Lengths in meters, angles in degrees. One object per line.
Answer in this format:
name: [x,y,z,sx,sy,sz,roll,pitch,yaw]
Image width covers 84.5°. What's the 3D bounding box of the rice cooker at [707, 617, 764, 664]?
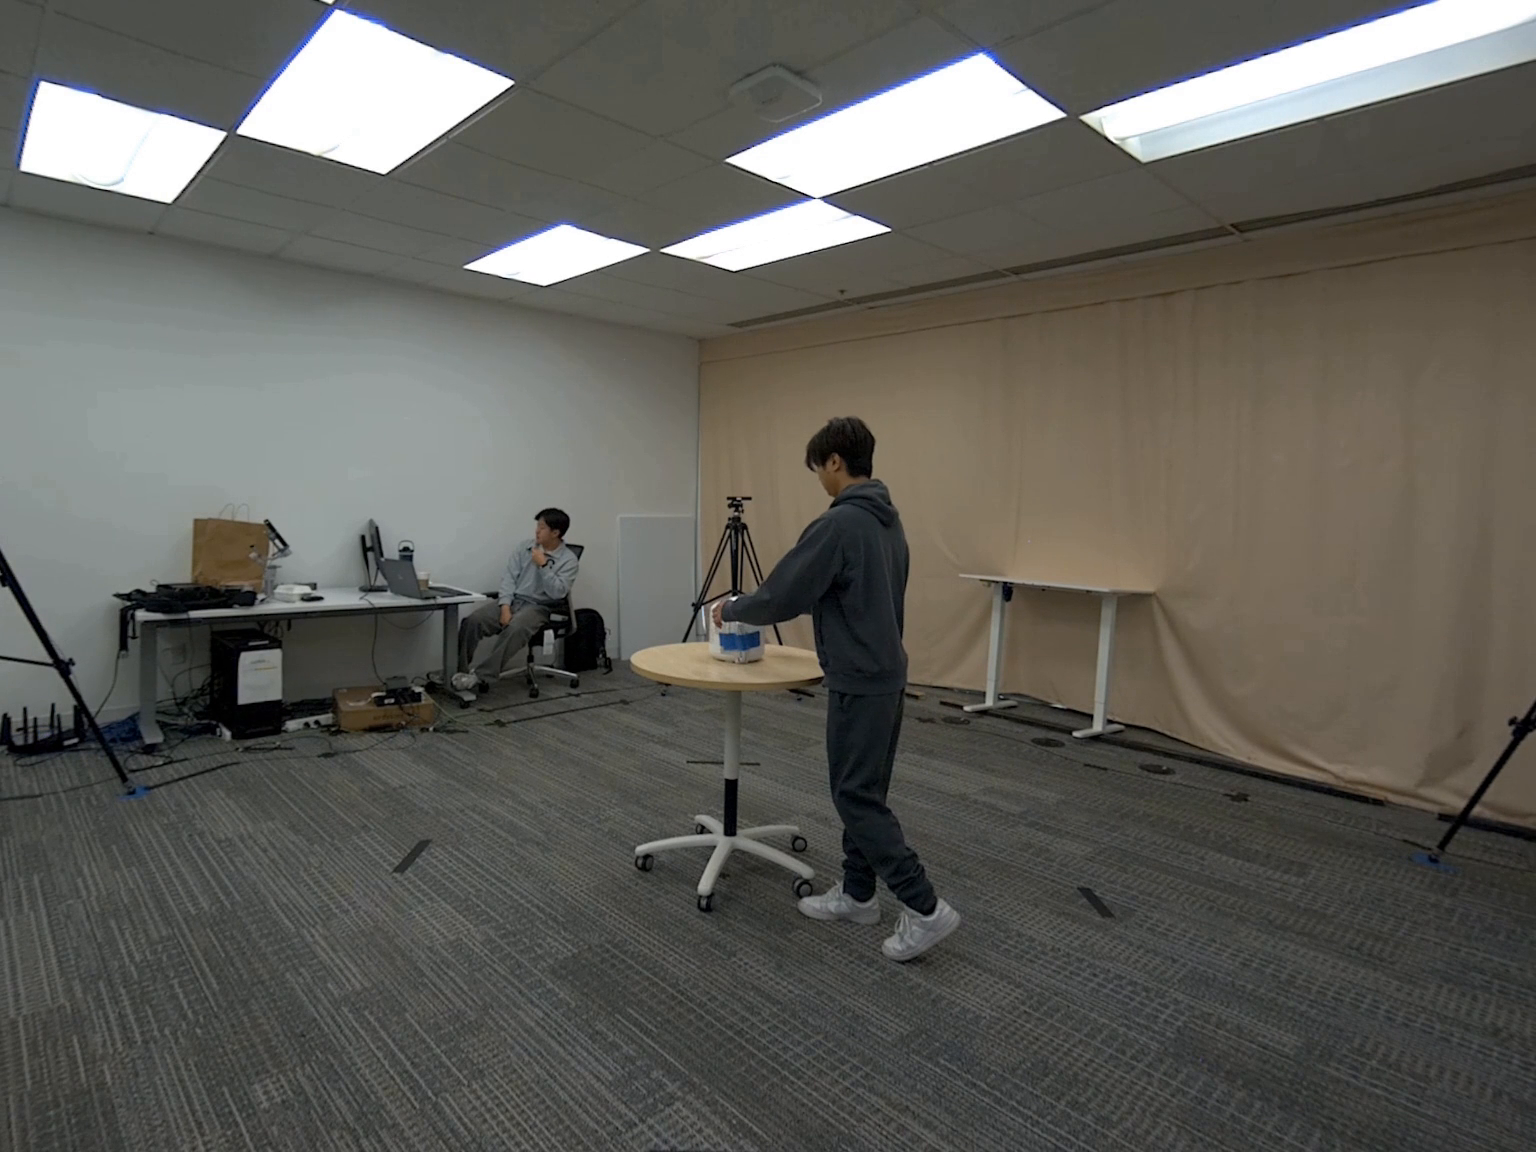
rice cooker: [-0.117,0.191,3.121,0.223,0.232,0.216,6,5,35]
